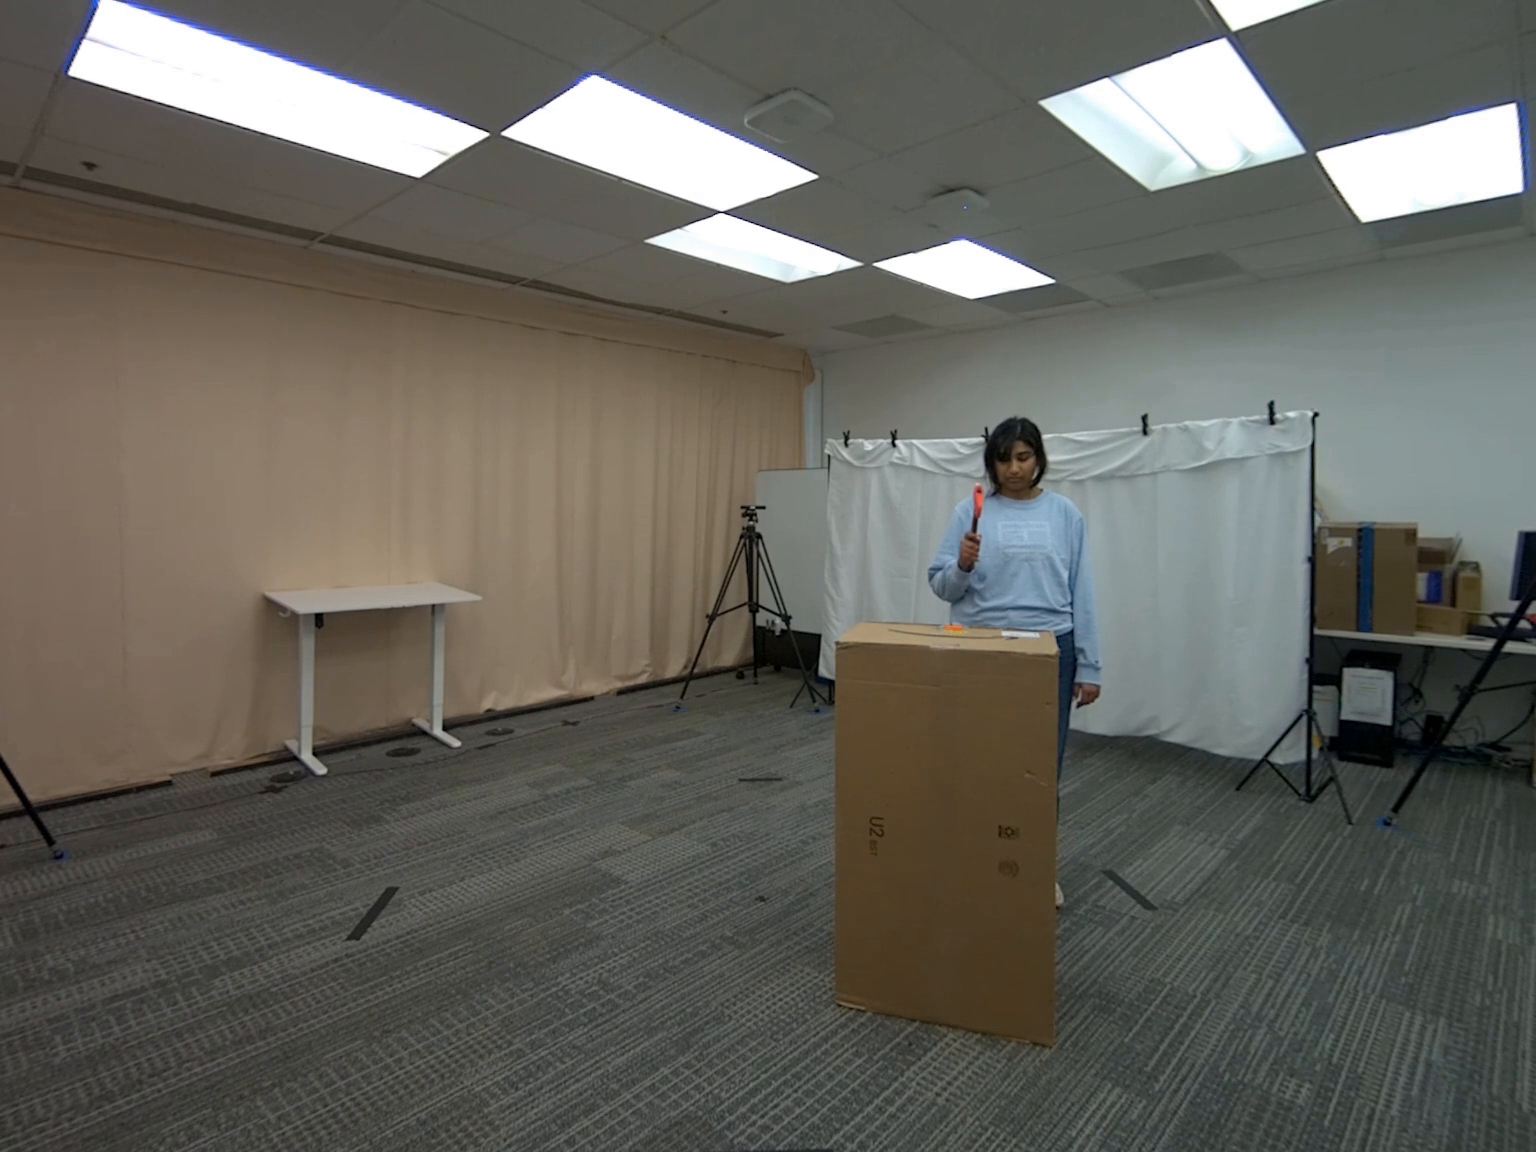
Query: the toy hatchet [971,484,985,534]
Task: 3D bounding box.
[{"bbox_3d":[0.685,-0.157,2.733,0.030,0.266,0.131,3,22,7],"label":"toy hatchet"}]
